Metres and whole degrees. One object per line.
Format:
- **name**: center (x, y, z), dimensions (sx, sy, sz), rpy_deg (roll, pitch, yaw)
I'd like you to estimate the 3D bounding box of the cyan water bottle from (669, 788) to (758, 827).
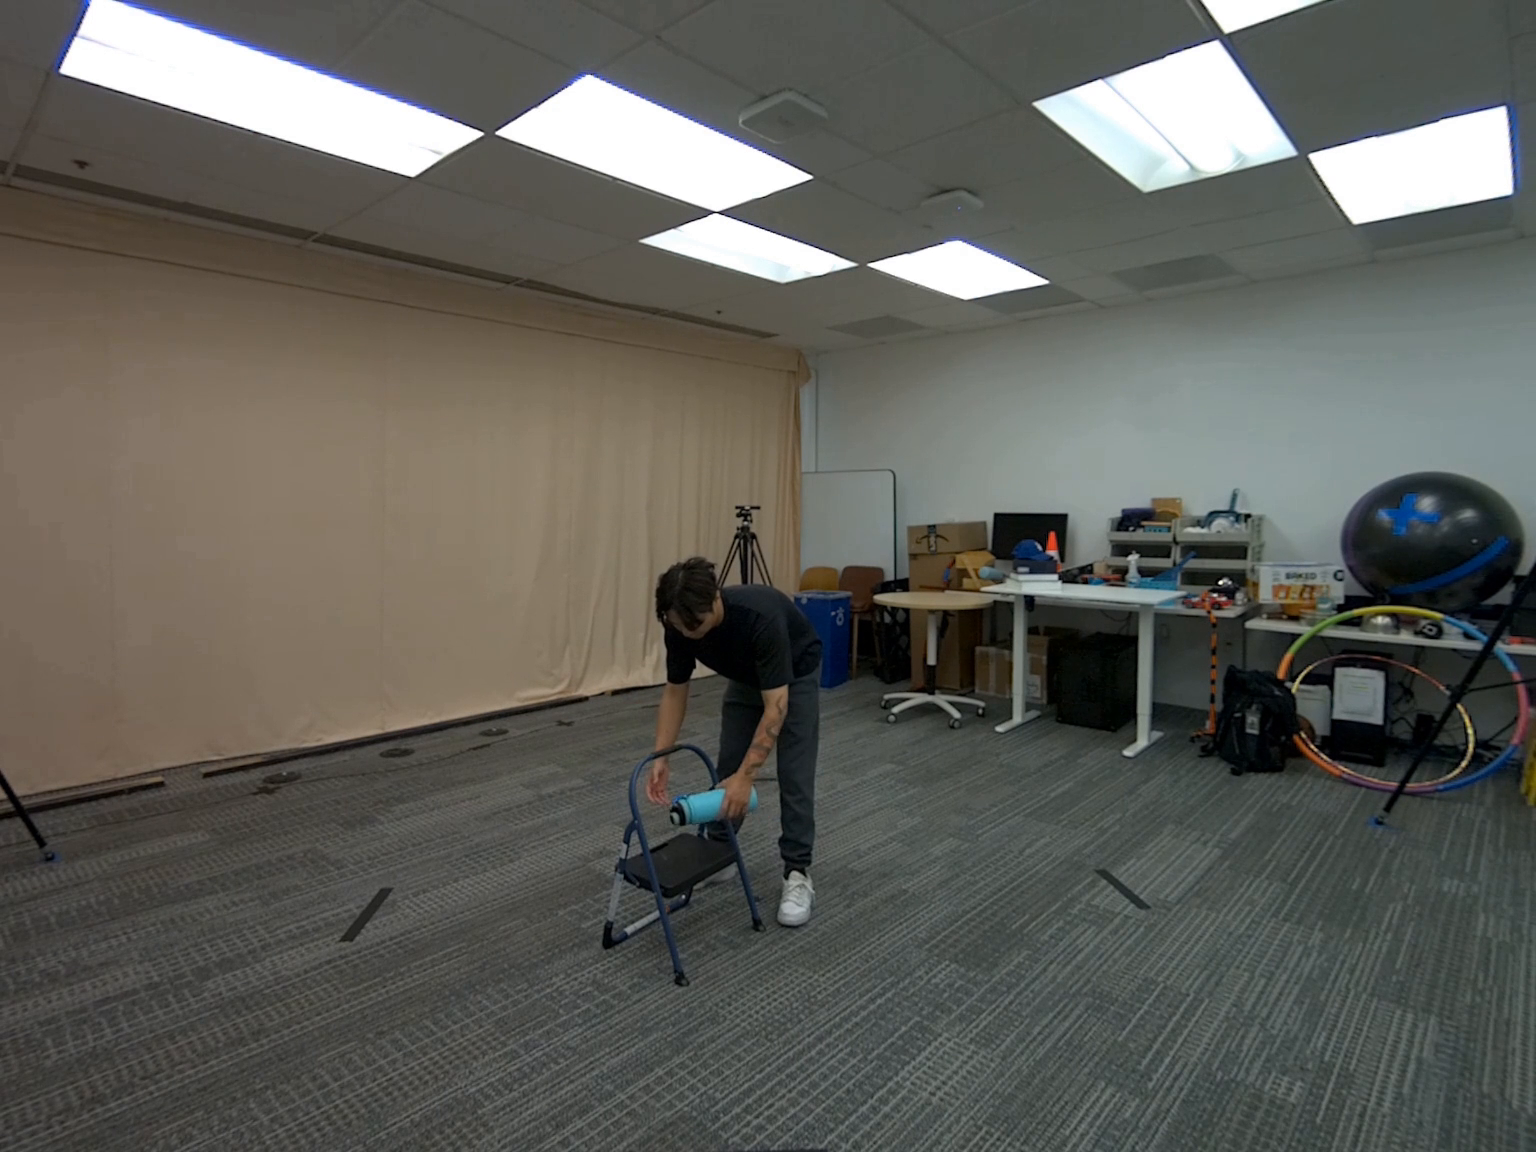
- **cyan water bottle**: center (-0.171, 0.712, 2.619), dimensions (0.277, 0.092, 0.095), rpy_deg (-3, 5, -26)
